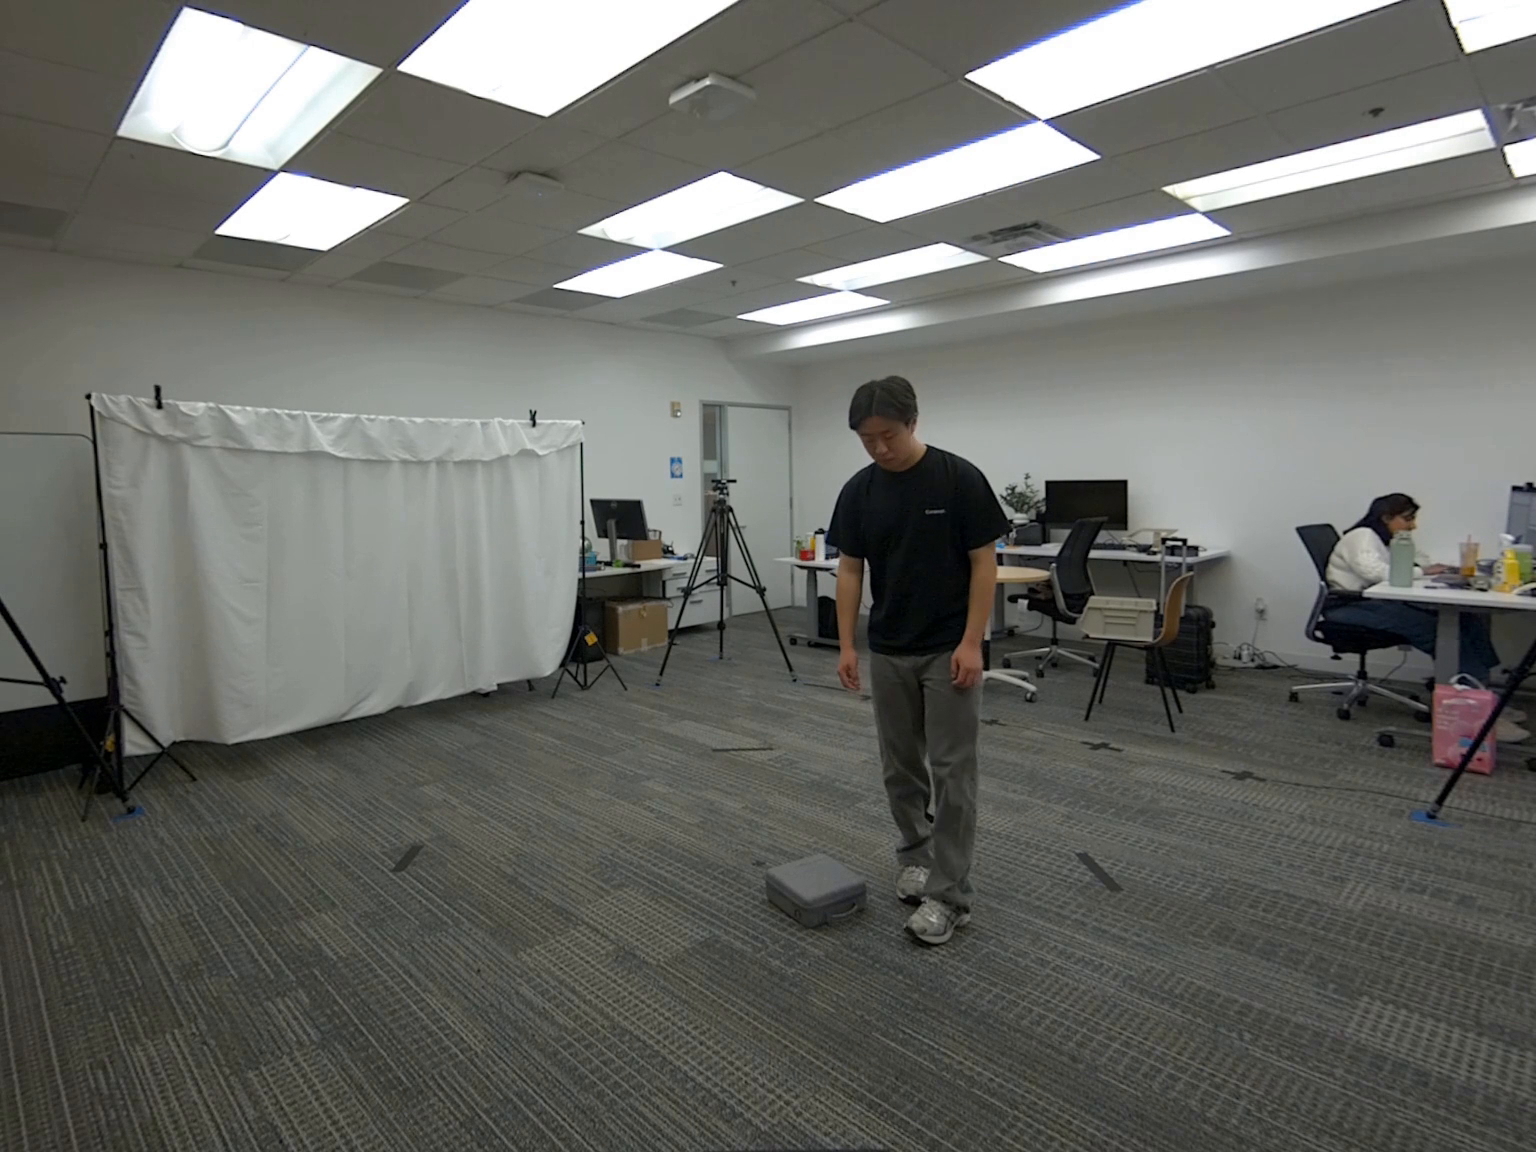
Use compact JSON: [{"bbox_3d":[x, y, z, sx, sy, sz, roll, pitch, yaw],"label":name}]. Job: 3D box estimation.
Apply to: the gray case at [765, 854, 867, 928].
[{"bbox_3d":[0.171,1.028,2.787,0.257,0.102,0.296,-4,8,-31],"label":"gray case"}]
